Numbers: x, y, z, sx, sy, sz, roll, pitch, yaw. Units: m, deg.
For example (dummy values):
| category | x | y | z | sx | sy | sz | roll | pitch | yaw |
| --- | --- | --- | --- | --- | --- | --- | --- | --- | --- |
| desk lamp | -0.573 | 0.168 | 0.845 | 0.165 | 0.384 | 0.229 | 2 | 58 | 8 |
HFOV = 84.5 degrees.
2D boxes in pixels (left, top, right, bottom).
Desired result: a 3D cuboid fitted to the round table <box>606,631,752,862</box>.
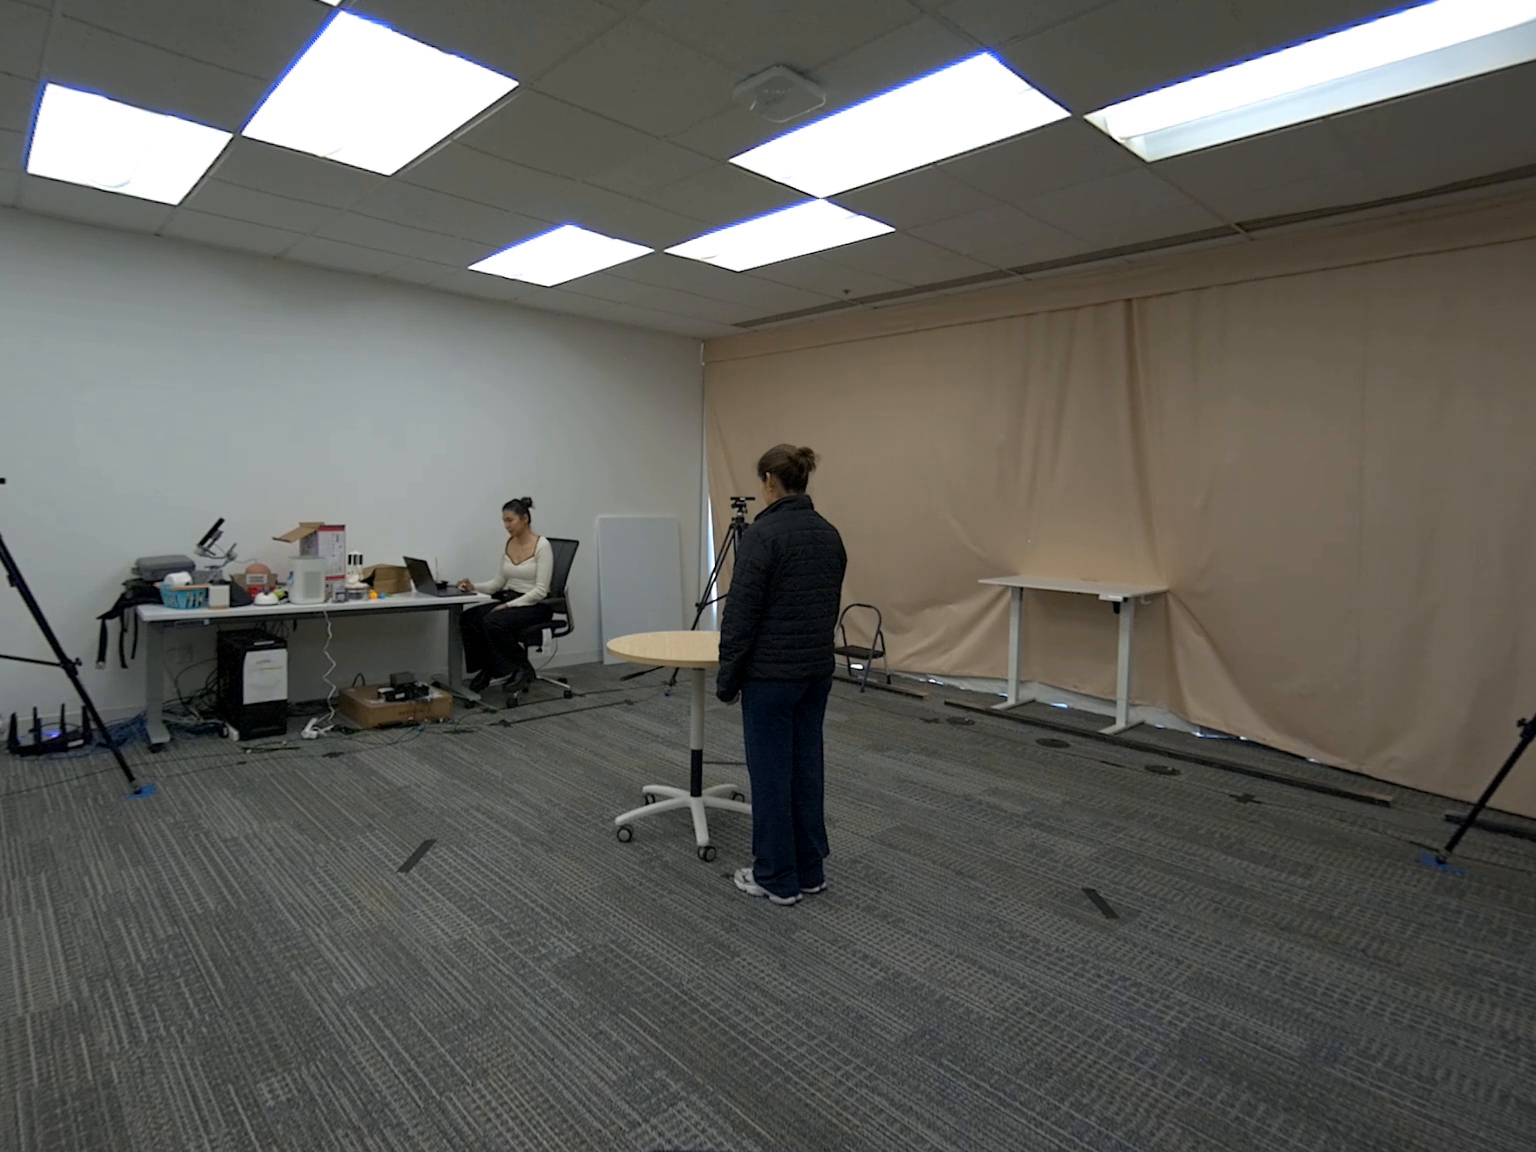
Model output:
| category | x | y | z | sx | sy | sz | roll | pitch | yaw |
| --- | --- | --- | --- | --- | --- | --- | --- | --- | --- |
| round table | -0.304 | 0.676 | 3.509 | 0.784 | 0.785 | 0.787 | 1 | 3 | -1 |
